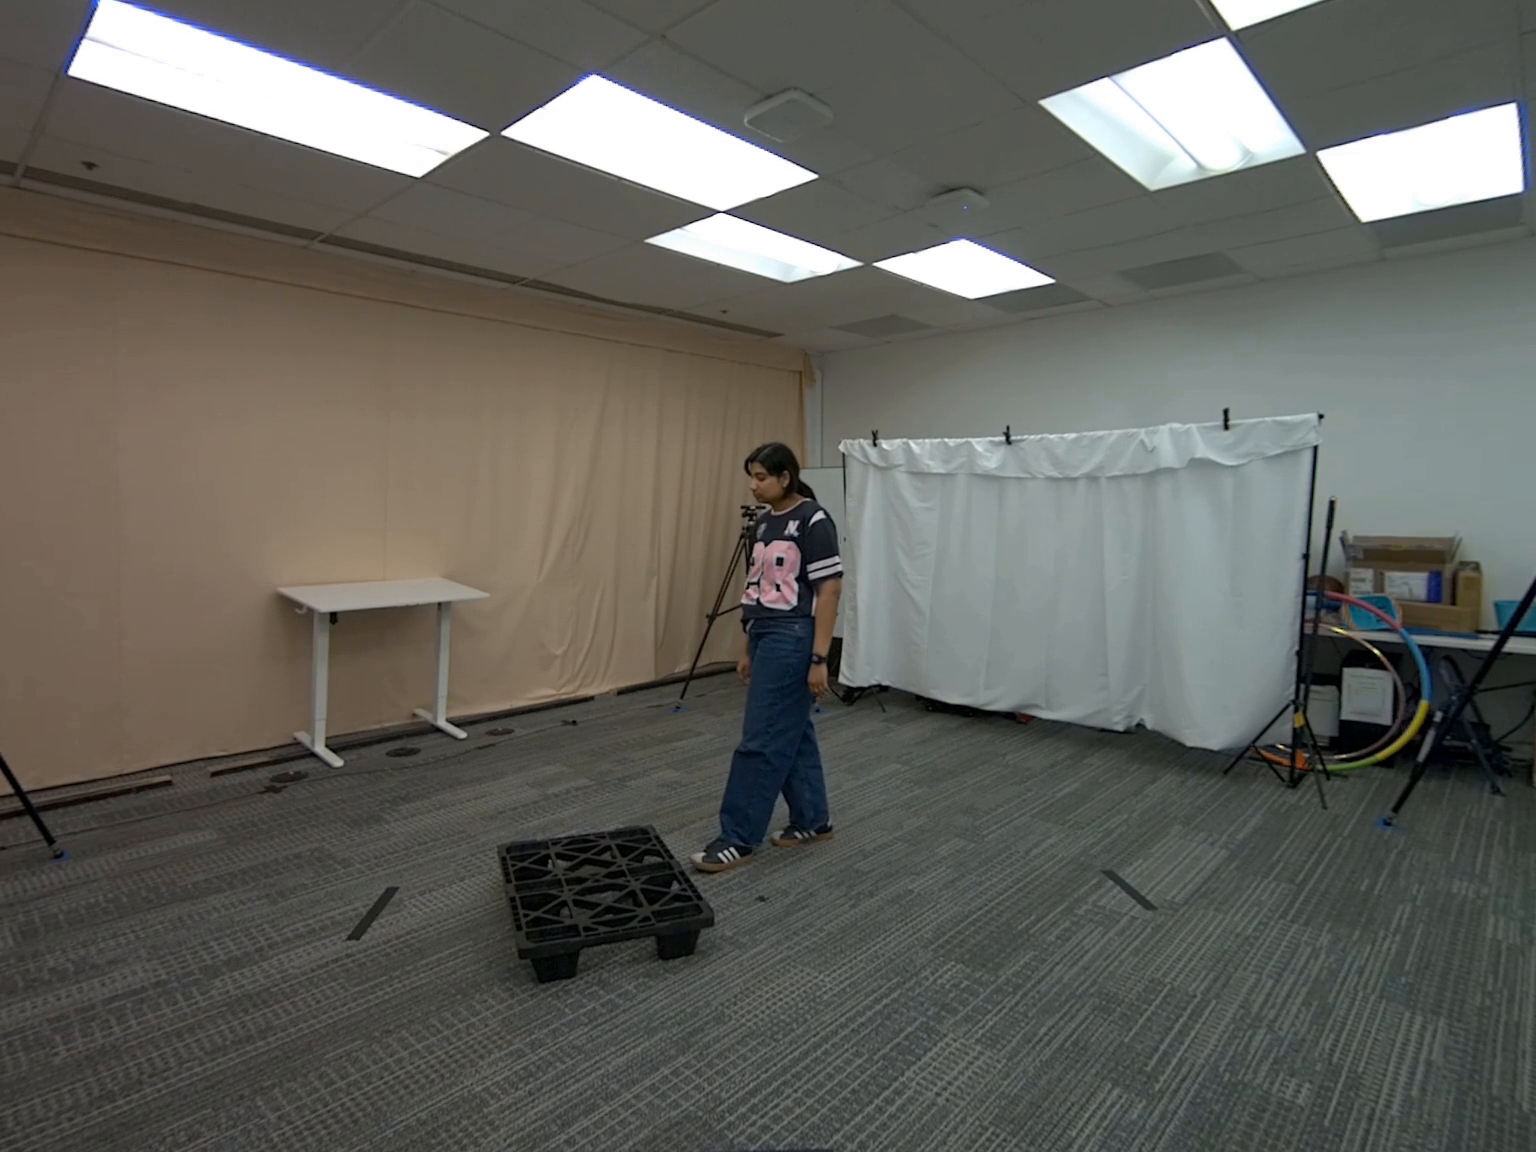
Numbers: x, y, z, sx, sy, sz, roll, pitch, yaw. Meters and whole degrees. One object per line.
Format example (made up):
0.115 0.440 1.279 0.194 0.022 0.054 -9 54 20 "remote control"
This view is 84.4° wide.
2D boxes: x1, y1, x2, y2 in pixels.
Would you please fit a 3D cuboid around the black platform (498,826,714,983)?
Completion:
-0.588 1.089 2.867 0.593 0.143 0.823 -3 5 -20 "black platform"
